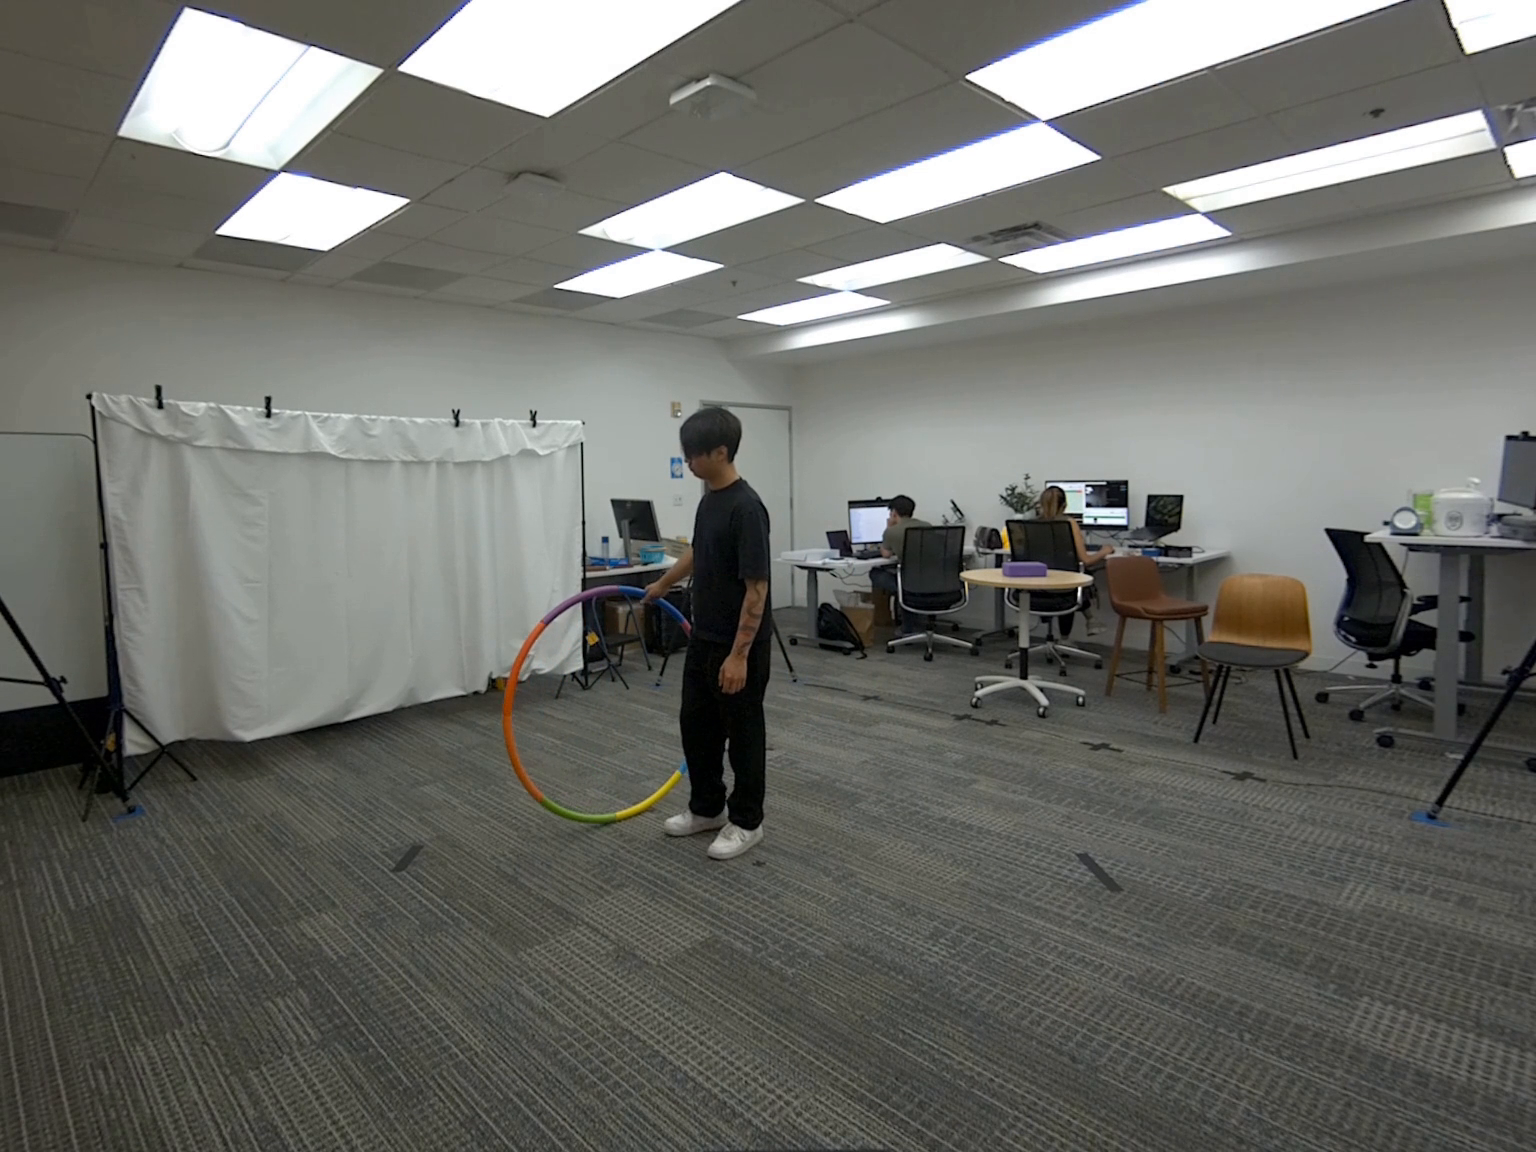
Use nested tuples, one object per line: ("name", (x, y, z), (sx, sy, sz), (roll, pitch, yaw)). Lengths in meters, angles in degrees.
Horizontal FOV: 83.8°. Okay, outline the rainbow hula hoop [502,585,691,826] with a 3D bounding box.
("rainbow hula hoop", (-0.626, 0.525, 3.533), (0.953, 0.977, 0.036), (-5, 2, -42))
